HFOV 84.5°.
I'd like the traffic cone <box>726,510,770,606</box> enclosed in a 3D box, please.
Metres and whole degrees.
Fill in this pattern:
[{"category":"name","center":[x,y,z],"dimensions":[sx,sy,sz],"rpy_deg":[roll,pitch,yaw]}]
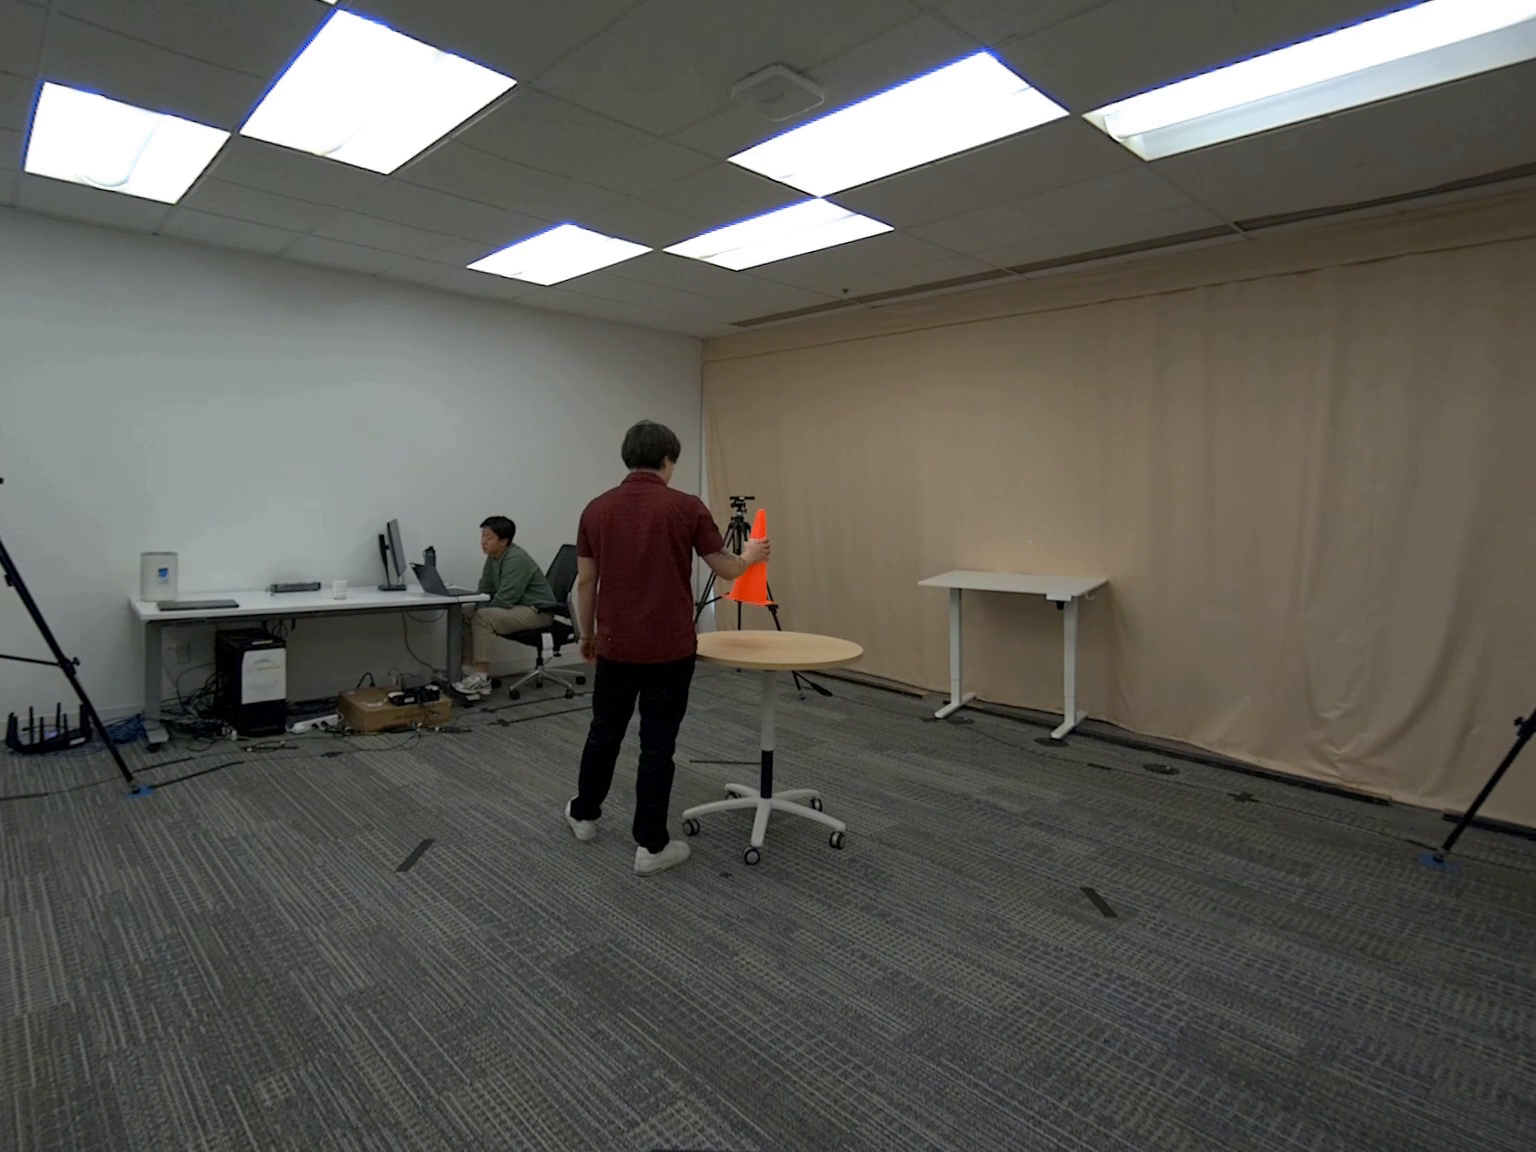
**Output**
[{"category":"traffic cone","center":[-0.058,-0.087,3.506],"dimensions":[0.208,0.383,0.201],"rpy_deg":[11,4,28]}]
